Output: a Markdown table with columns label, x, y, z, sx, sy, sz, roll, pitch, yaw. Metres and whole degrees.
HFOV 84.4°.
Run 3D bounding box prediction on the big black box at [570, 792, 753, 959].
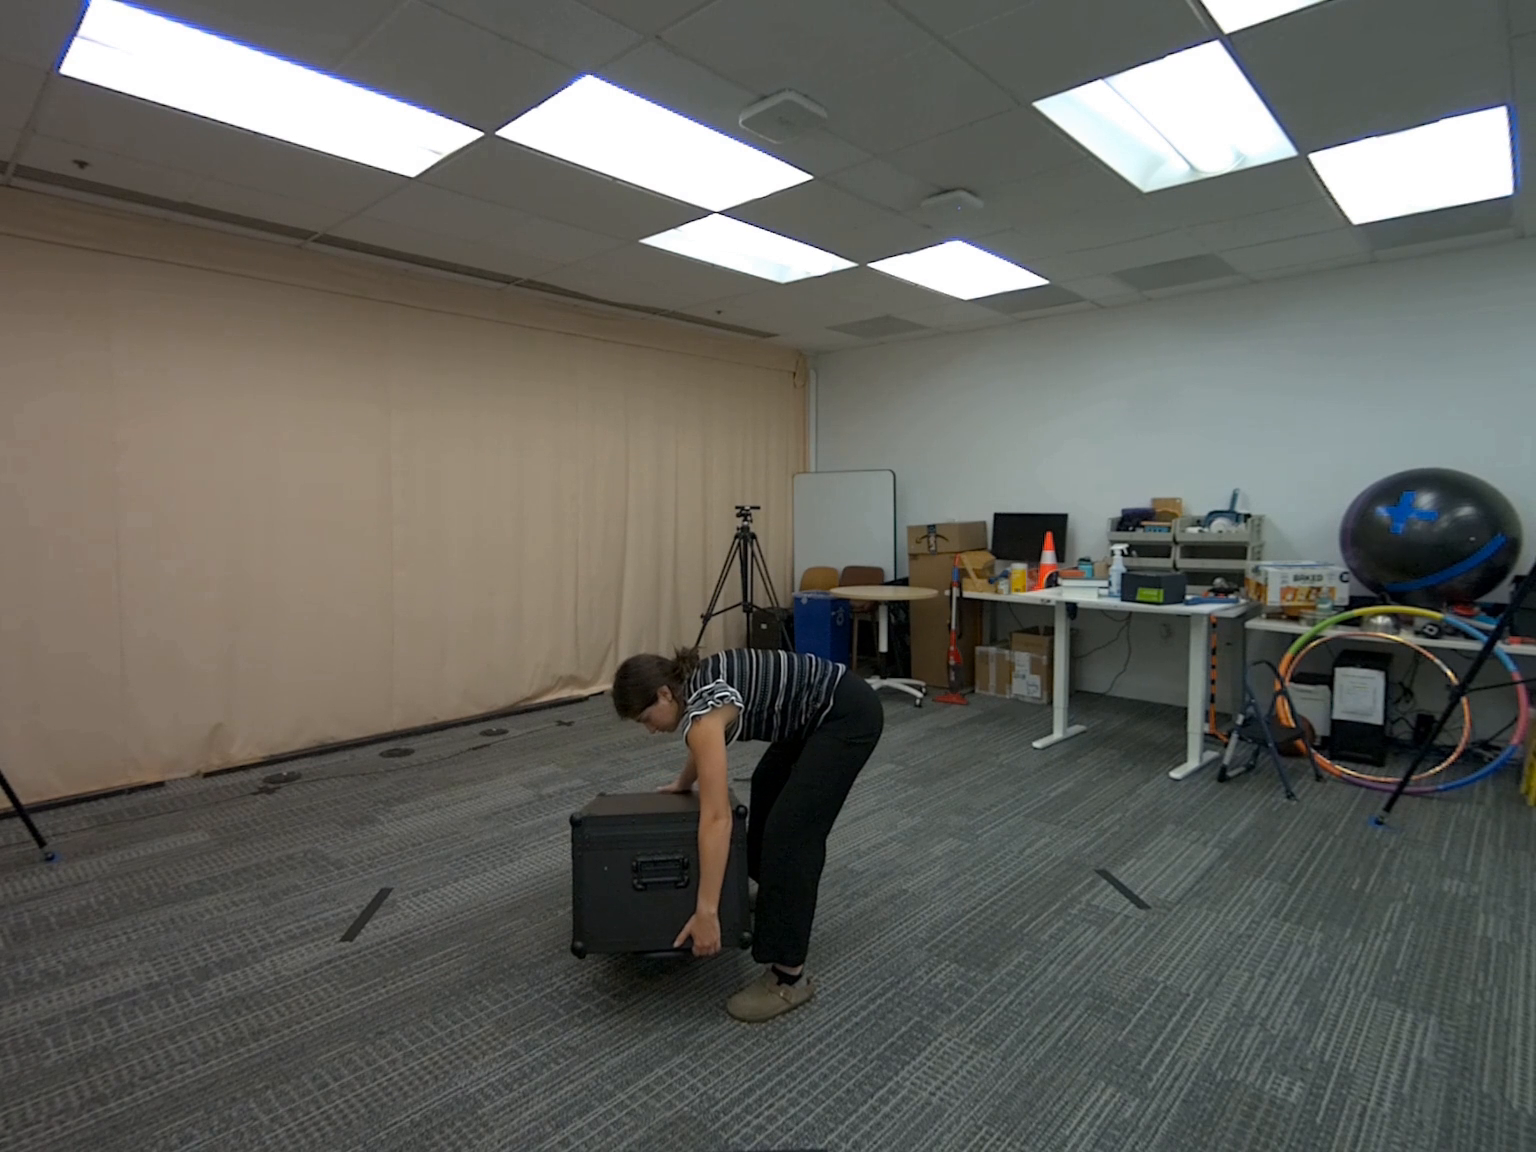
| label | x | y | z | sx | sy | sz | roll | pitch | yaw |
| --- | --- | --- | --- | --- | --- | --- | --- | --- | --- |
| big black box | -0.336 | 0.905 | 2.689 | 0.520 | 0.399 | 0.857 | -2 | -10 | -3 |
